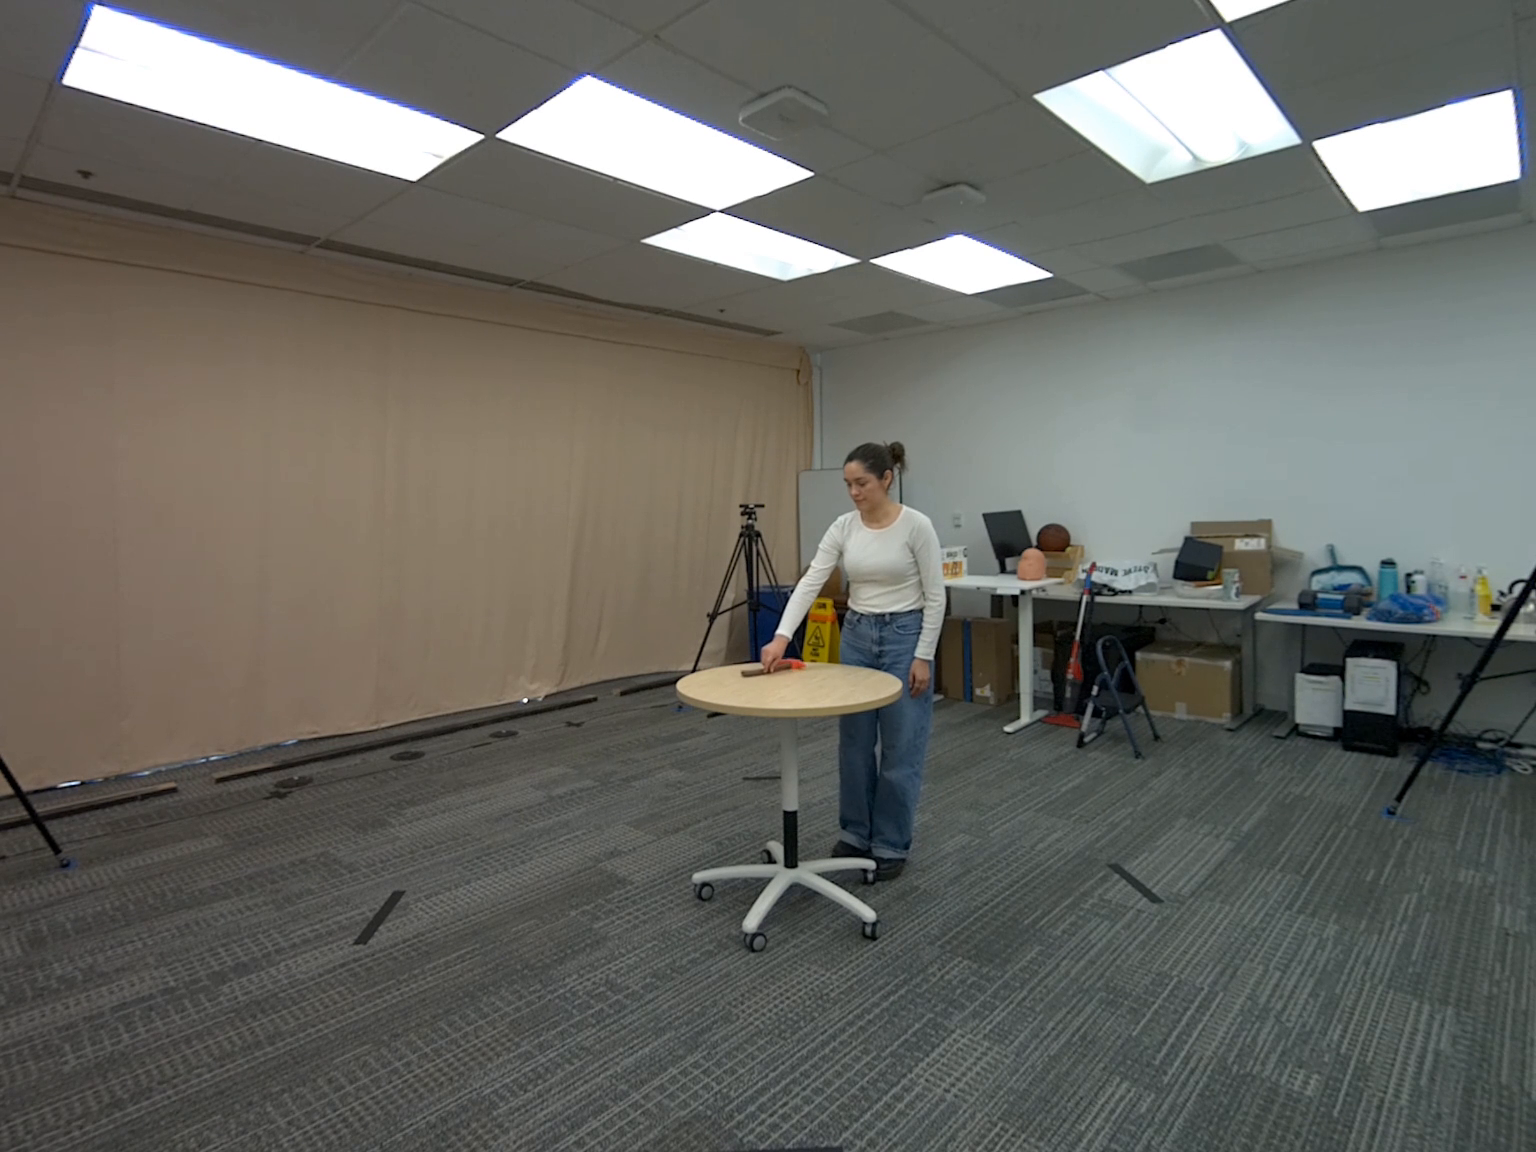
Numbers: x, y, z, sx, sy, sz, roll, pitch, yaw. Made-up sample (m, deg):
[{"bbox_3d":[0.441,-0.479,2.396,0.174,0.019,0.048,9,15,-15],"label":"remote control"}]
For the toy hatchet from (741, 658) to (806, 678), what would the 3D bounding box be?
[{"bbox_3d":[0.003,0.340,3.088,0.263,0.029,0.135,-5,8,-28],"label":"toy hatchet"}]
